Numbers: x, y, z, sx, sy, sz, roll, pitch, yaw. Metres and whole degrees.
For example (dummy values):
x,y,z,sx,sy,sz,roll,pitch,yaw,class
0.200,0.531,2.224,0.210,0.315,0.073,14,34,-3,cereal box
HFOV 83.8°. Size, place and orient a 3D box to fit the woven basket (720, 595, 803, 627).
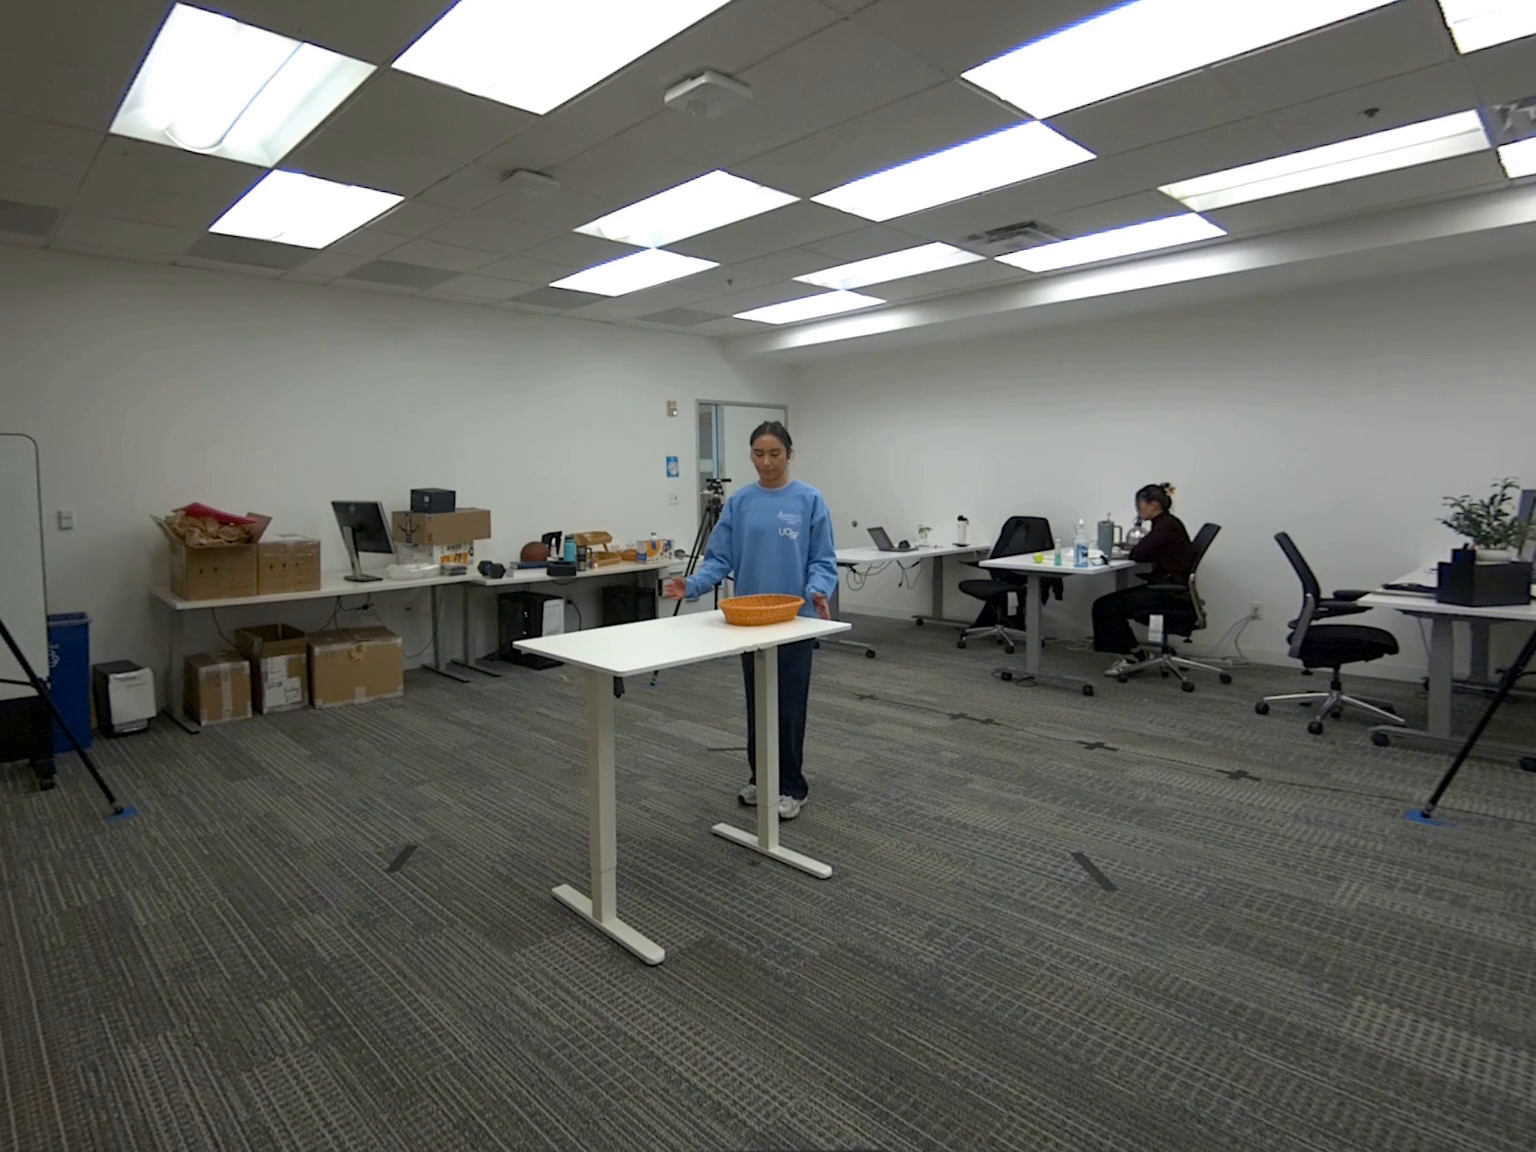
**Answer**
x,y,z,sx,sy,sz,roll,pitch,yaw,class
-0.029,0.133,3.126,0.341,0.073,0.261,-6,10,-43,woven basket
